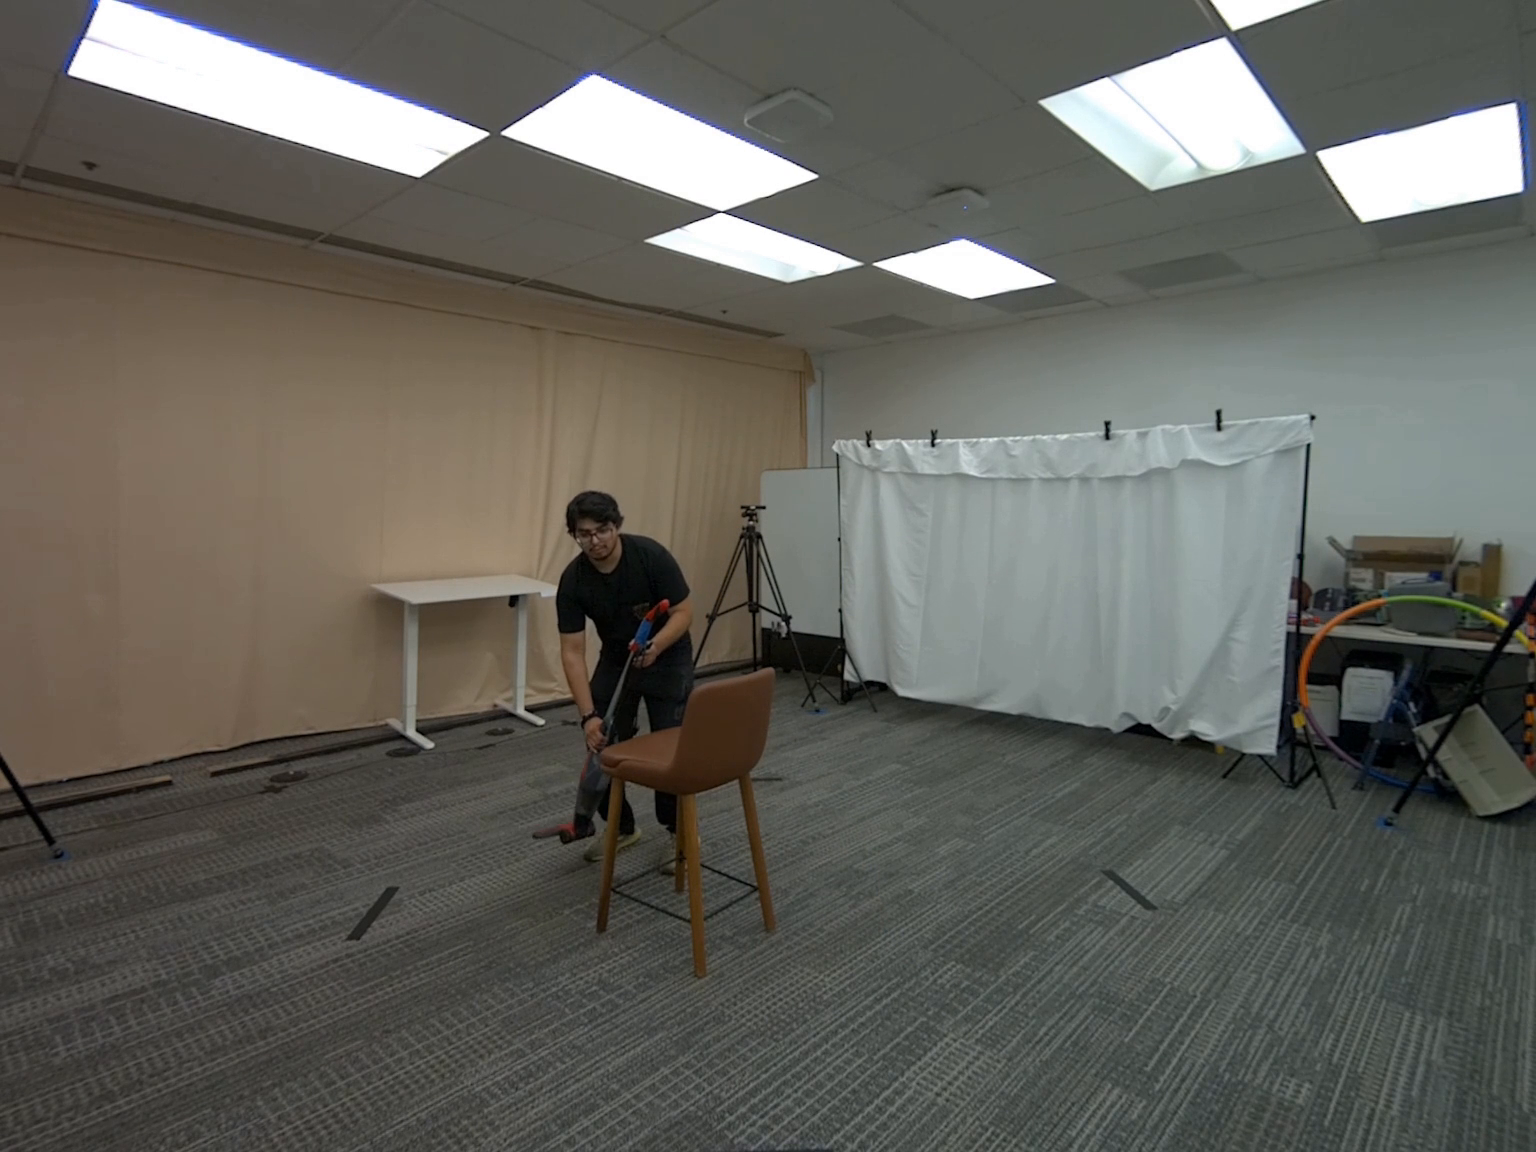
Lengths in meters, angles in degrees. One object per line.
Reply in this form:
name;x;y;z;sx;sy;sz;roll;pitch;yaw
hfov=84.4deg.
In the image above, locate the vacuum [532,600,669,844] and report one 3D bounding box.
vacuum;-0.561;0.536;3.012;0.244;1.046;0.149;3;29;-43
